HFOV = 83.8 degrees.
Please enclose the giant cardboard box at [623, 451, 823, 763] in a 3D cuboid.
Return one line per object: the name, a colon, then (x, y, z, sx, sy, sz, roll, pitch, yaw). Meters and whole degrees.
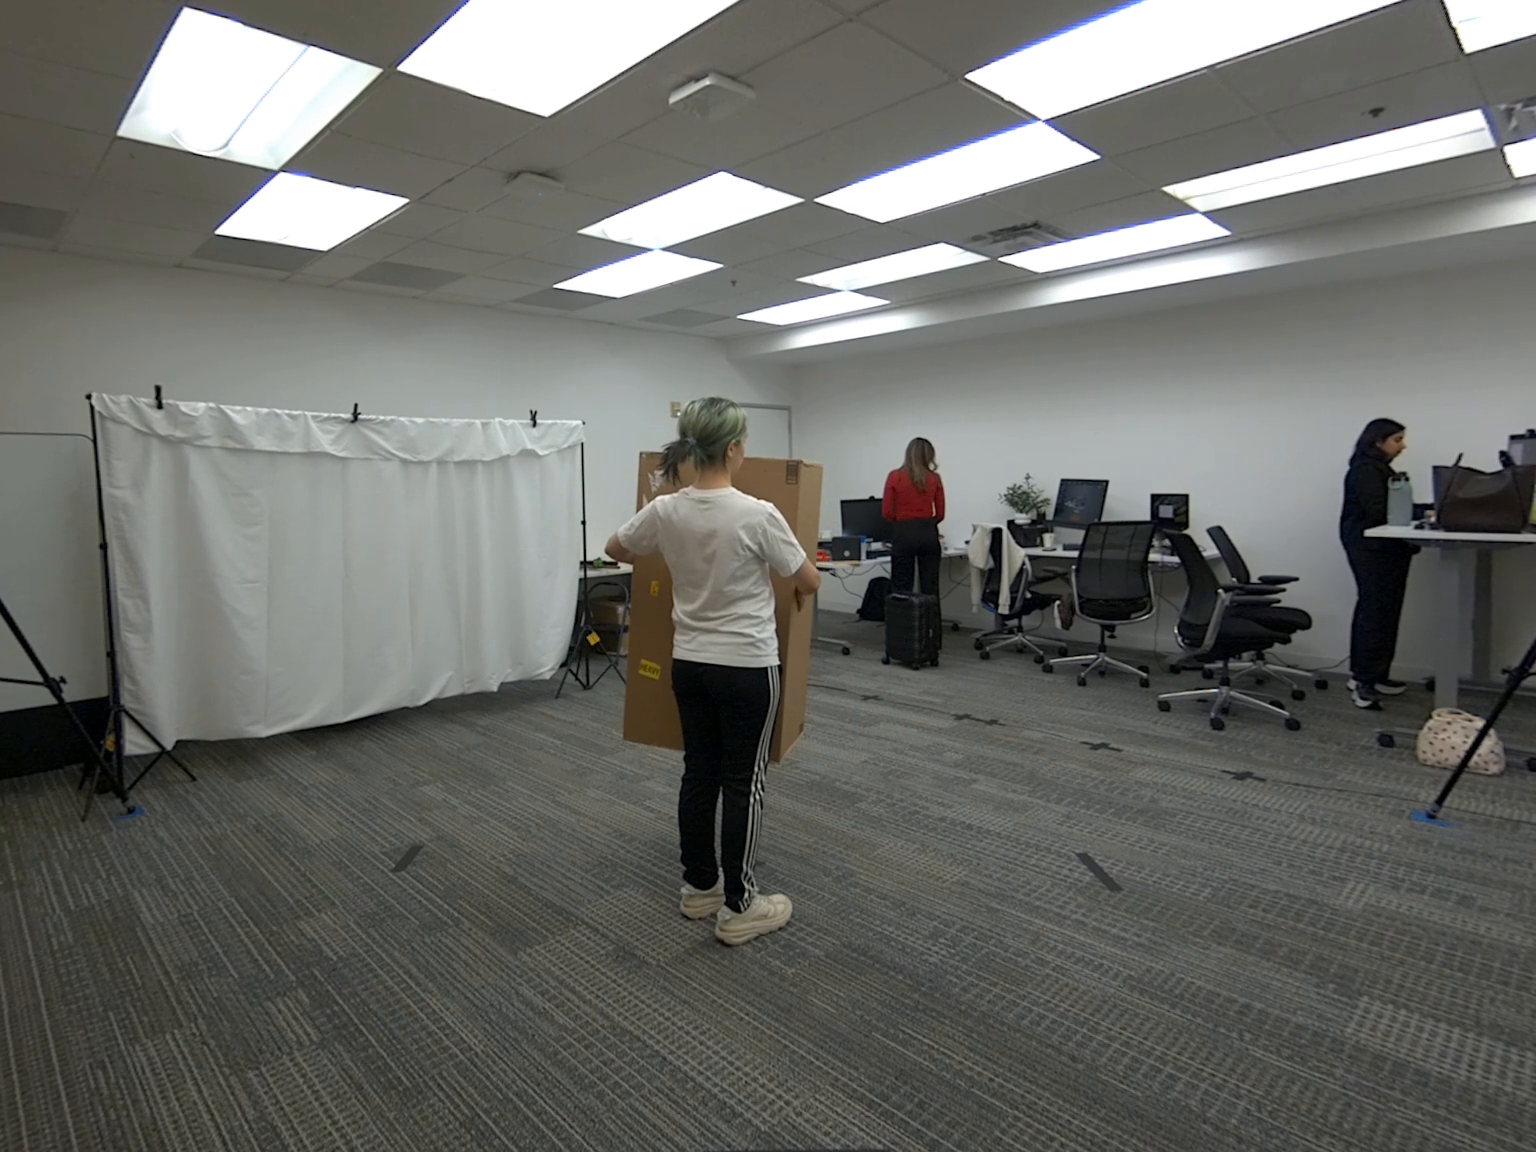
giant cardboard box: (-0.146, 0.085, 3.100, 0.588, 1.023, 0.420, 5, 3, 16)
